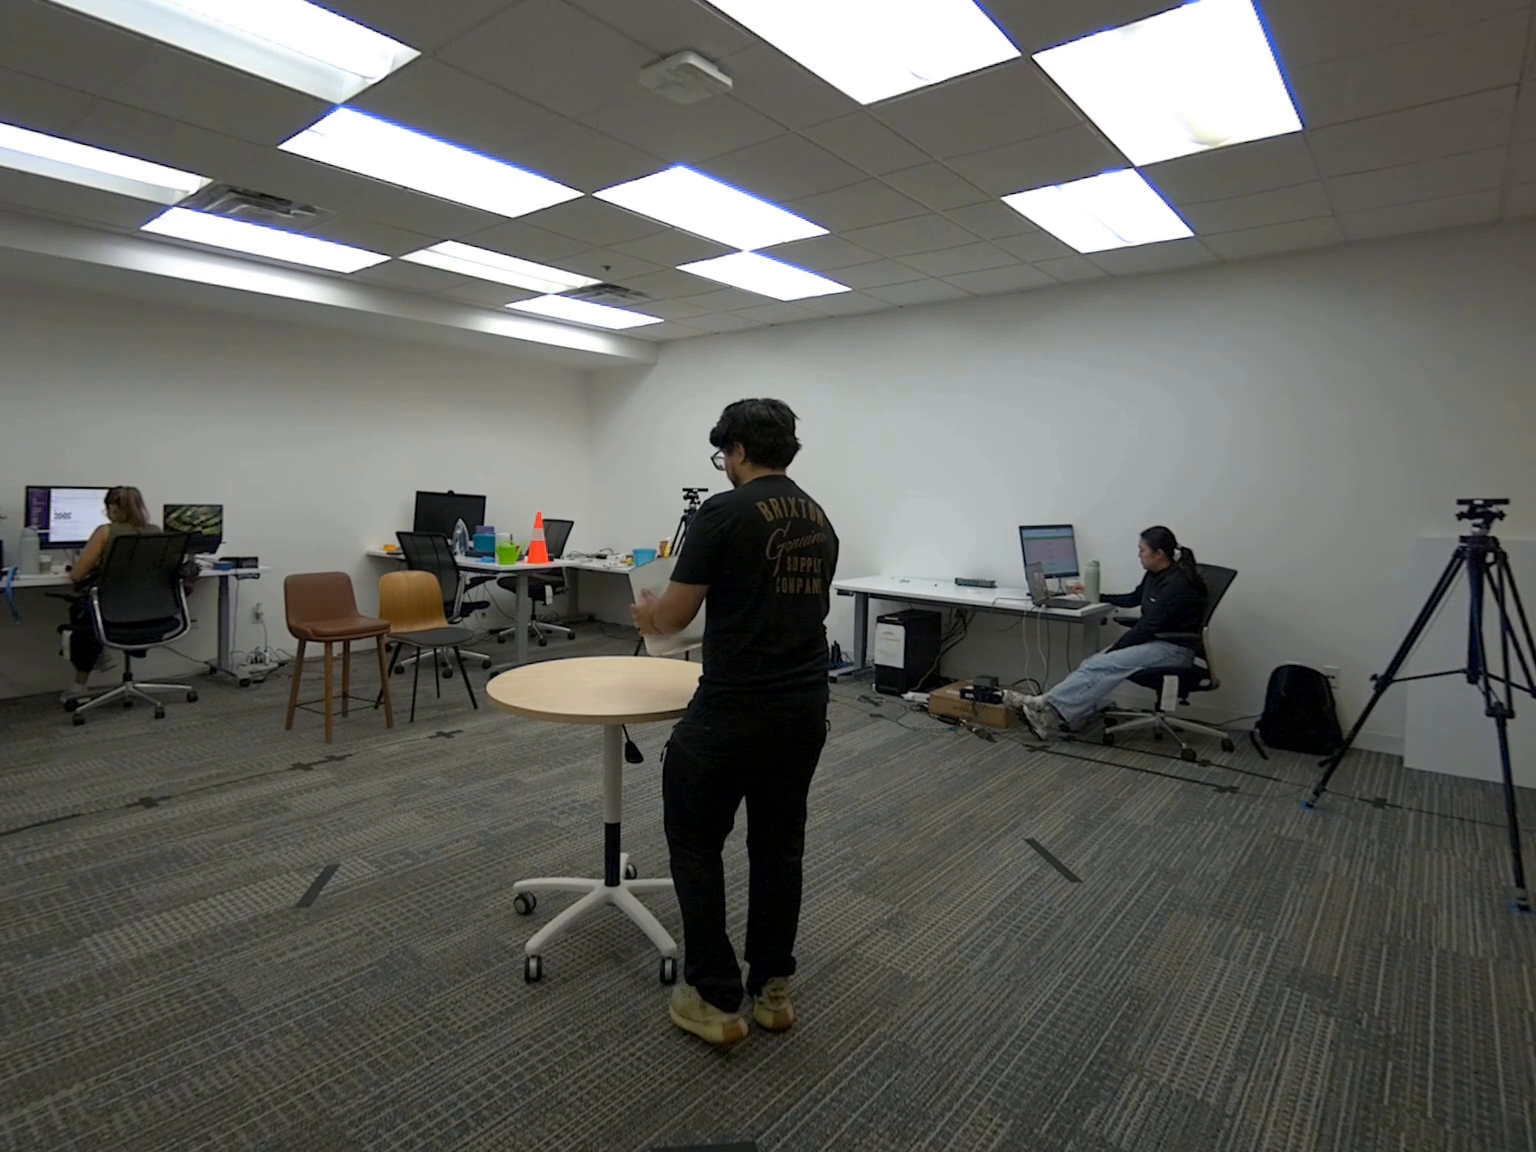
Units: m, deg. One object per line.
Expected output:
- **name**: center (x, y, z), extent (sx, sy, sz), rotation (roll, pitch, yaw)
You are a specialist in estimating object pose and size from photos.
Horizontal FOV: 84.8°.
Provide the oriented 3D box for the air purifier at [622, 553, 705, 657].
- **air purifier**: center (-0.287, 0.082, 2.508), extent (0.177, 0.265, 0.163), rotation (-22, -12, 36)
